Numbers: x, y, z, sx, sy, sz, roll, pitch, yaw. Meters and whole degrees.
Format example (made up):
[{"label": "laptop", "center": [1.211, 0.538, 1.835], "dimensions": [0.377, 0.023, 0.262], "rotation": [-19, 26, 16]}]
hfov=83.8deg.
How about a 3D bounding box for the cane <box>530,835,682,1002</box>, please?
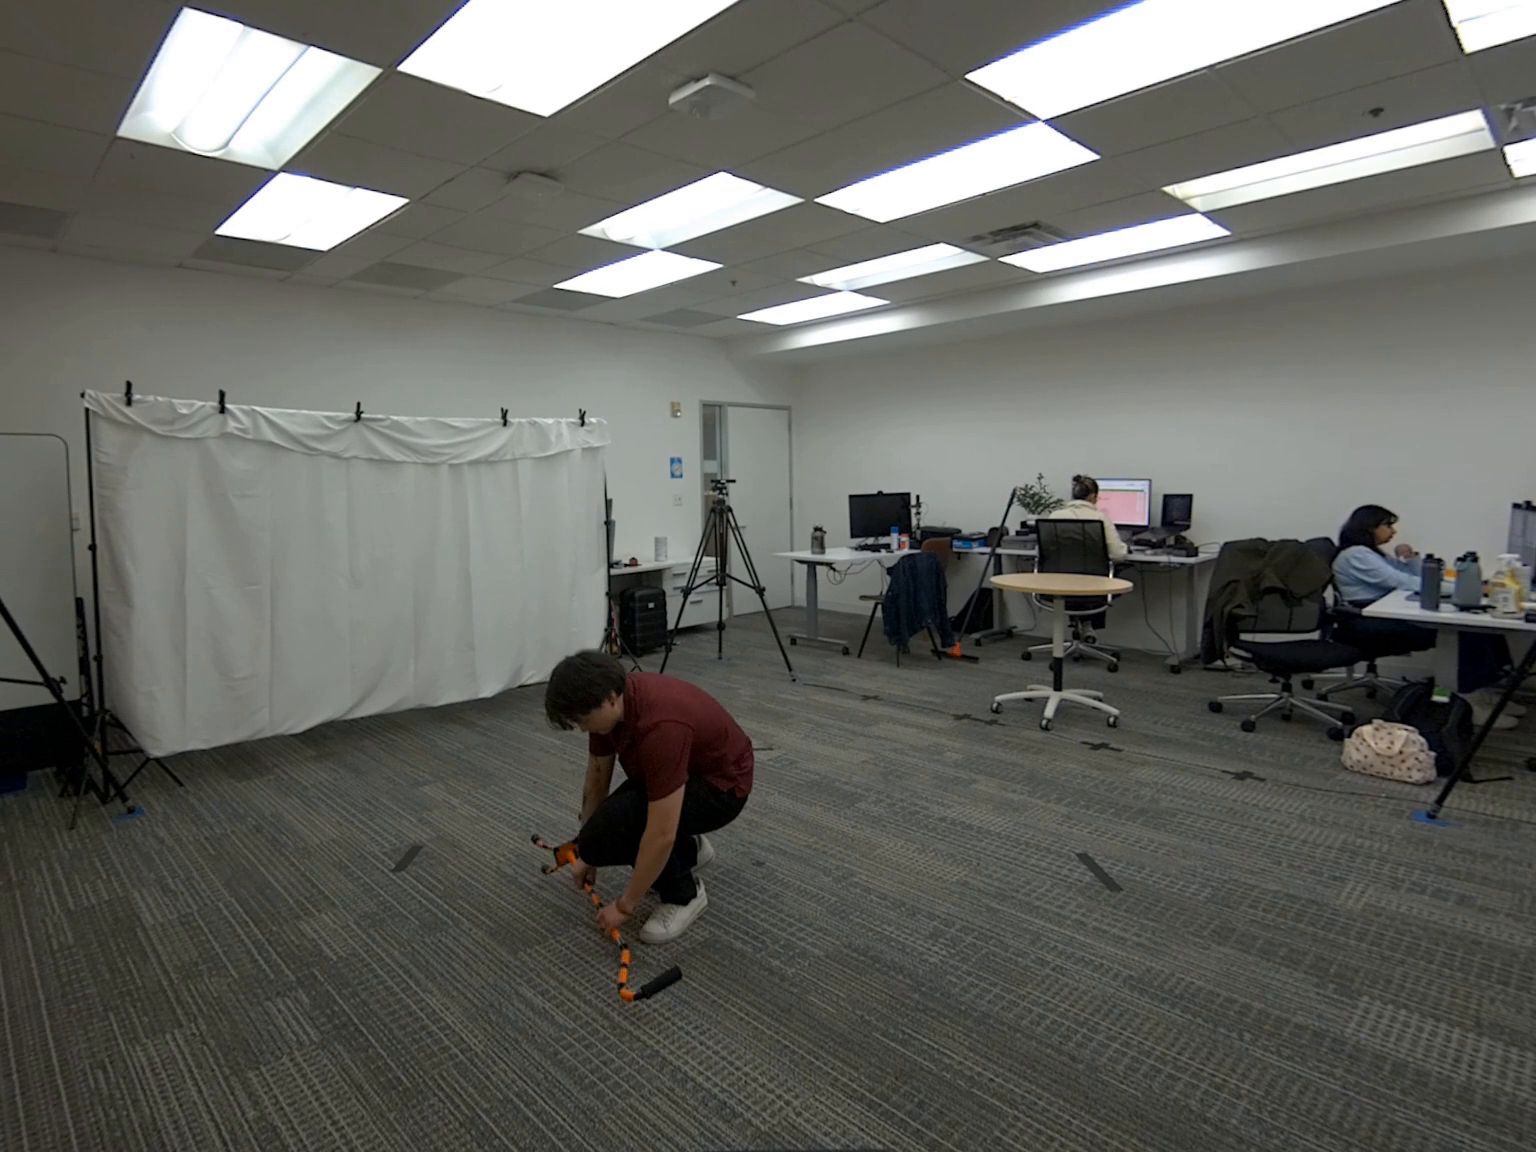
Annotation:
[{"label": "cane", "center": [-0.513, 0.989, 2.613], "dimensions": [0.204, 0.149, 0.933], "rotation": [-21, 16, -23]}]
